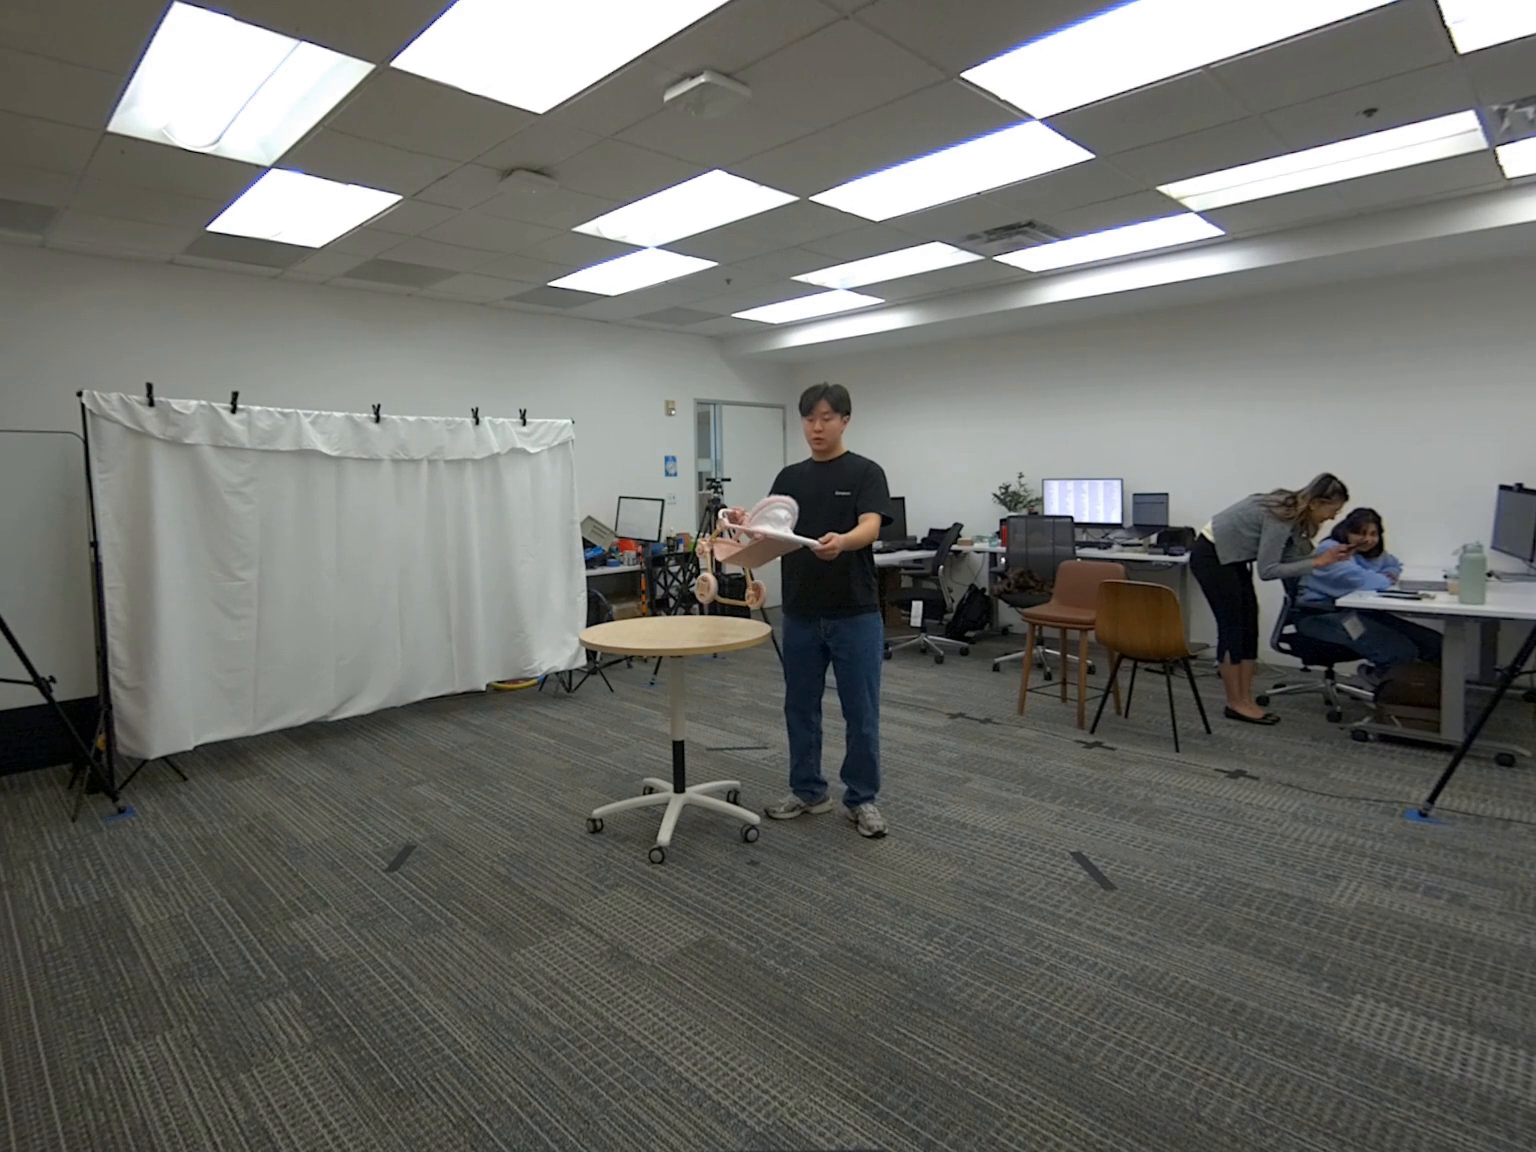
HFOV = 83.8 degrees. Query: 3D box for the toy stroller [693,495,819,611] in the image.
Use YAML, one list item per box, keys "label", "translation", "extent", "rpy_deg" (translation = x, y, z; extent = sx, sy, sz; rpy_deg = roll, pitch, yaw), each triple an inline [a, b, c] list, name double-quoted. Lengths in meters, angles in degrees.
- label: "toy stroller"
  translation: [-0.072, -0.107, 3.123]
  extent: [0.272, 0.352, 0.536]
  rpy_deg: [14, -42, -37]
